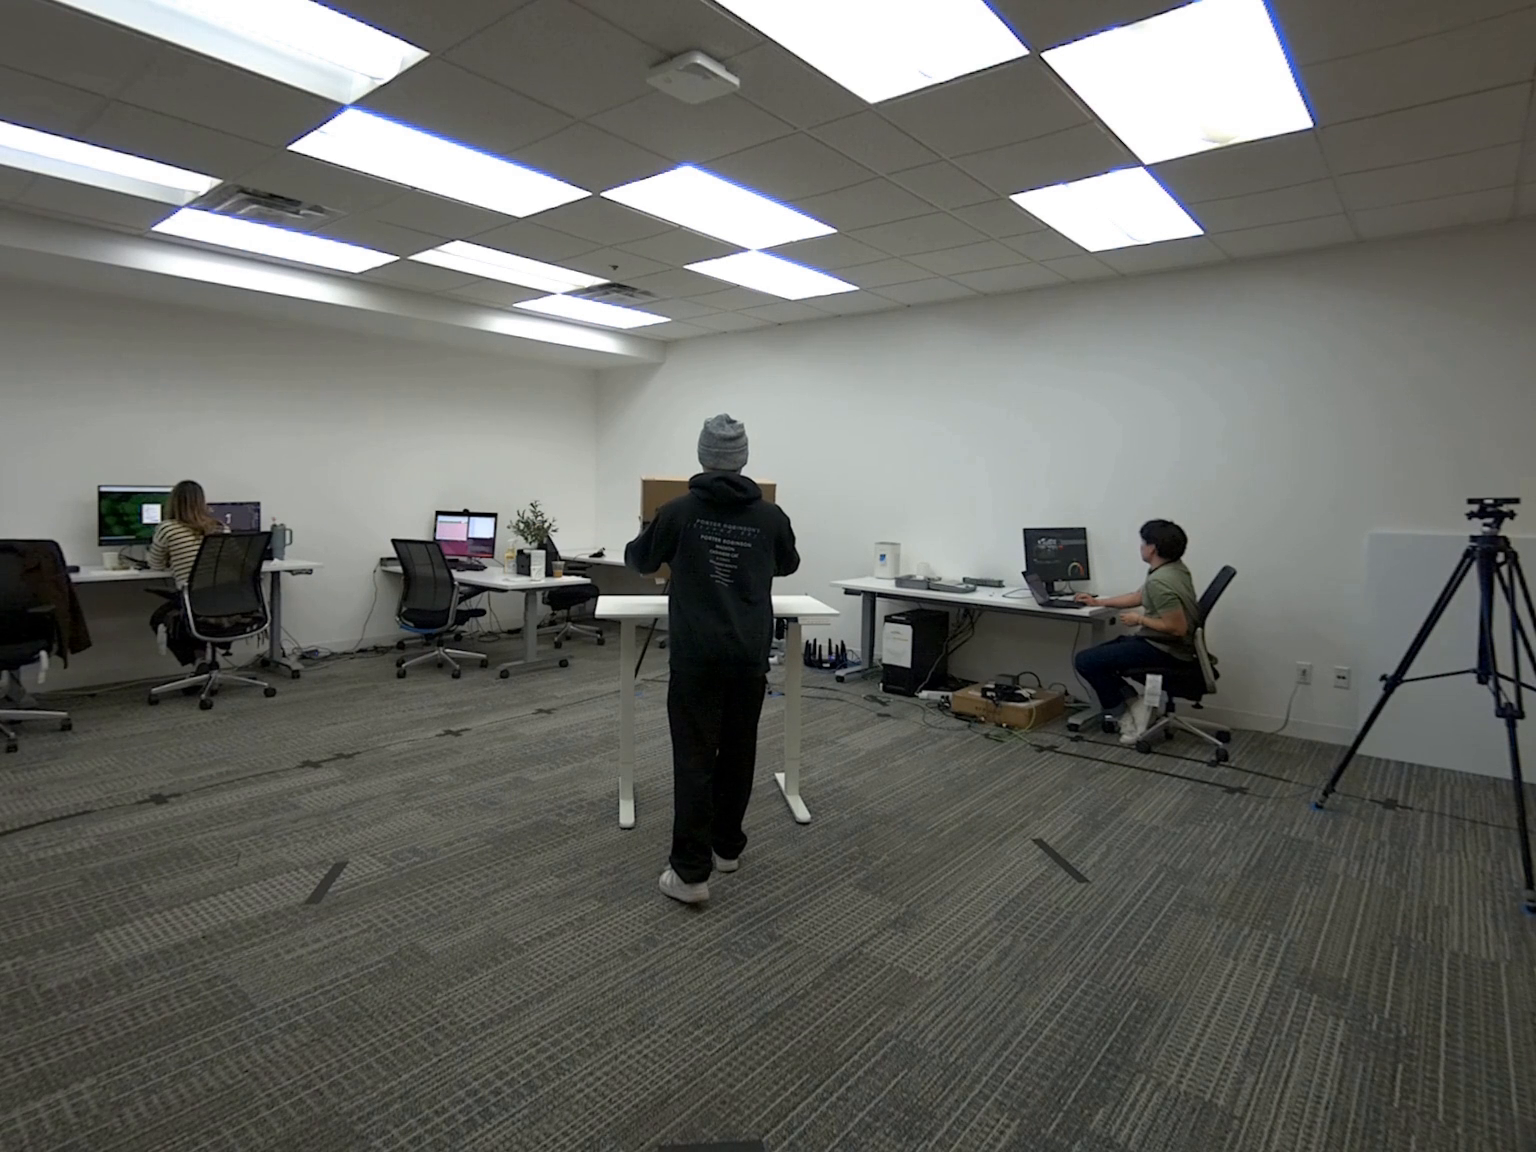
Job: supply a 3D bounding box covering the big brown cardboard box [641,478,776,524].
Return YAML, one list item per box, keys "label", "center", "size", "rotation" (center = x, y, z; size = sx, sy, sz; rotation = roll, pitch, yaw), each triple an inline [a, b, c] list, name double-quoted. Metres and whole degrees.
- label: "big brown cardboard box"
  center: [-0.269, -0.214, 3.677]
  size: [0.584, 0.414, 0.237]
  rotation: [2, 9, -8]
